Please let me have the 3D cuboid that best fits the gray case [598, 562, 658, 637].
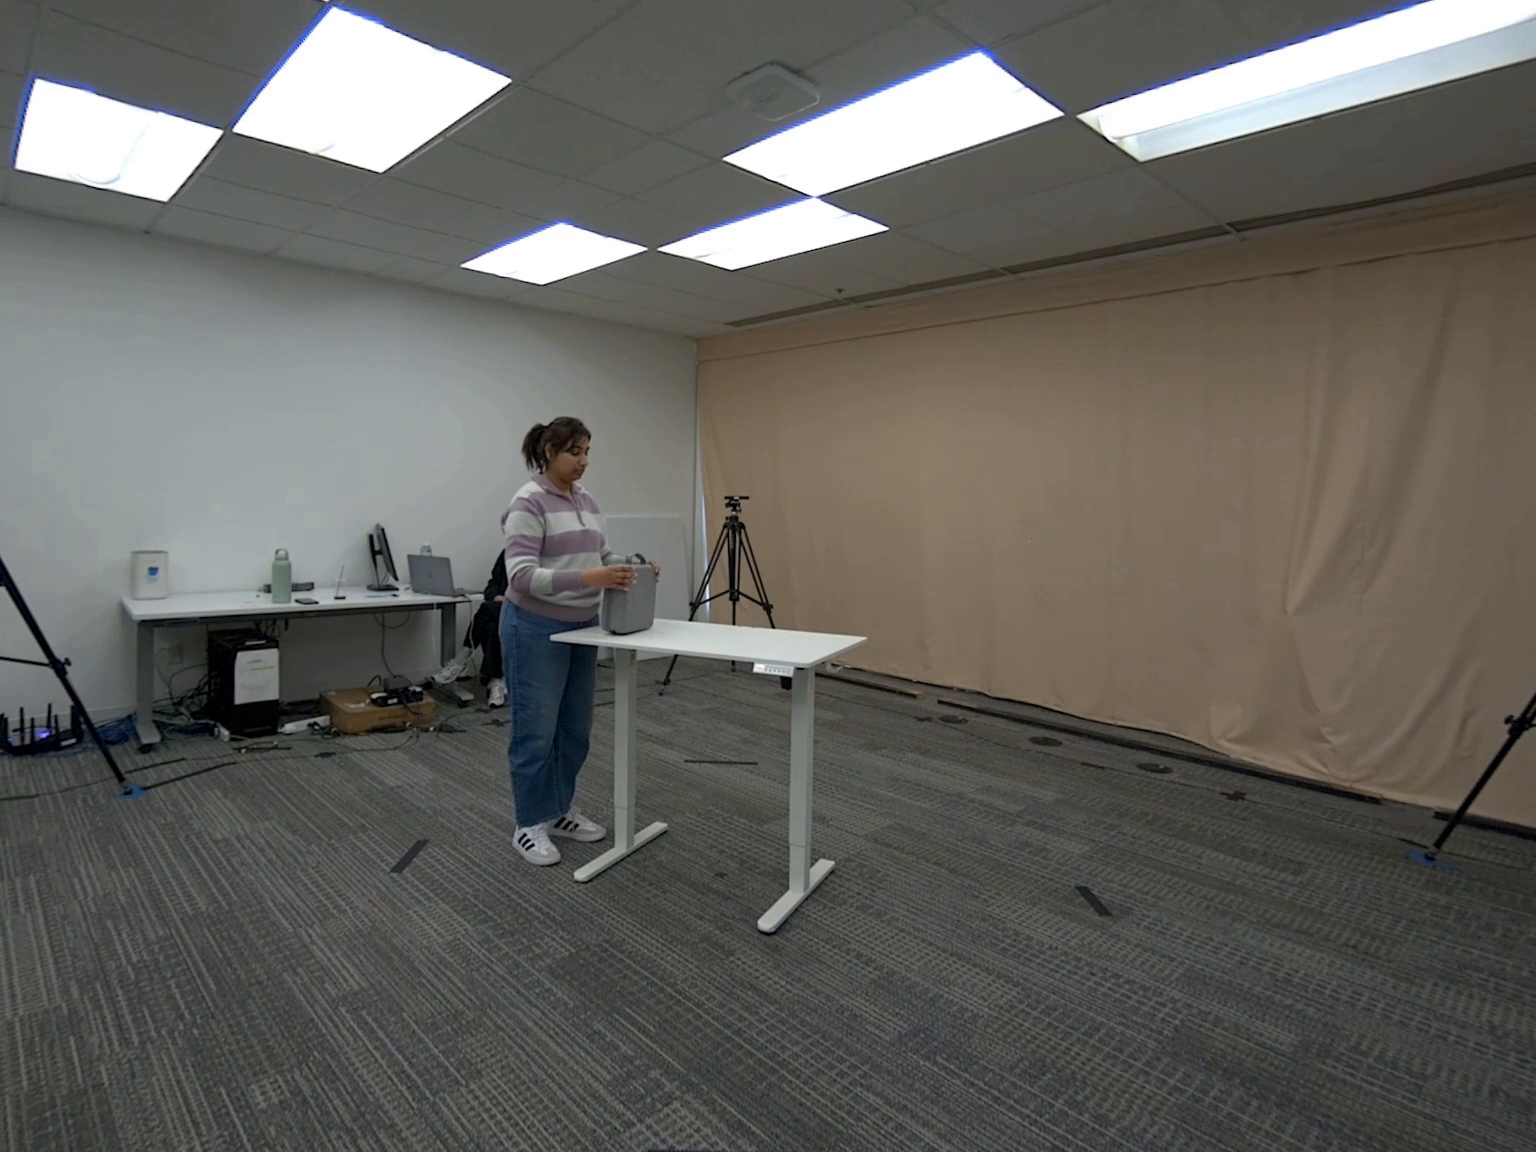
[{"bbox_3d":[-0.521,0.081,3.153,0.106,0.261,0.253,3,0,16],"label":"gray case"}]
